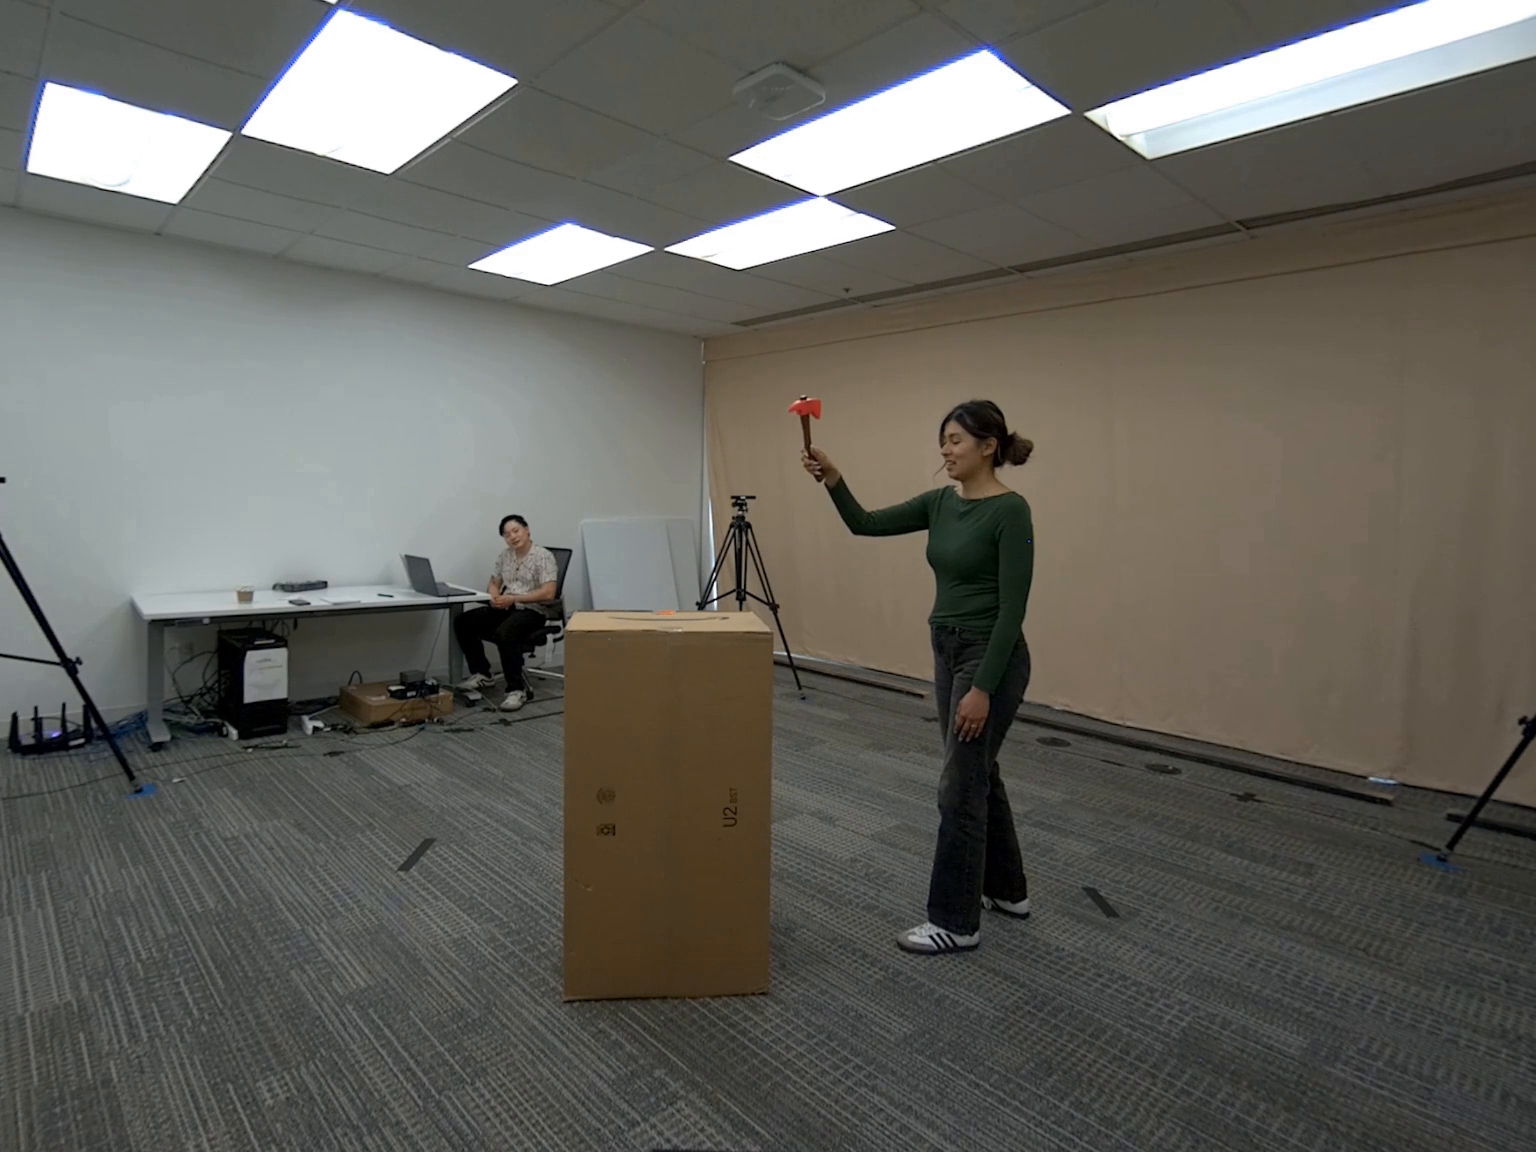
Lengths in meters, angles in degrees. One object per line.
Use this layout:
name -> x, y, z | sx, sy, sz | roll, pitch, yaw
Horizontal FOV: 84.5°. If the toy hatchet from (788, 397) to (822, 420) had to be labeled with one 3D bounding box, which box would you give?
toy hatchet -> 0.137, -0.421, 2.588 | 0.131, 0.263, 0.030 | -43, 34, -26
